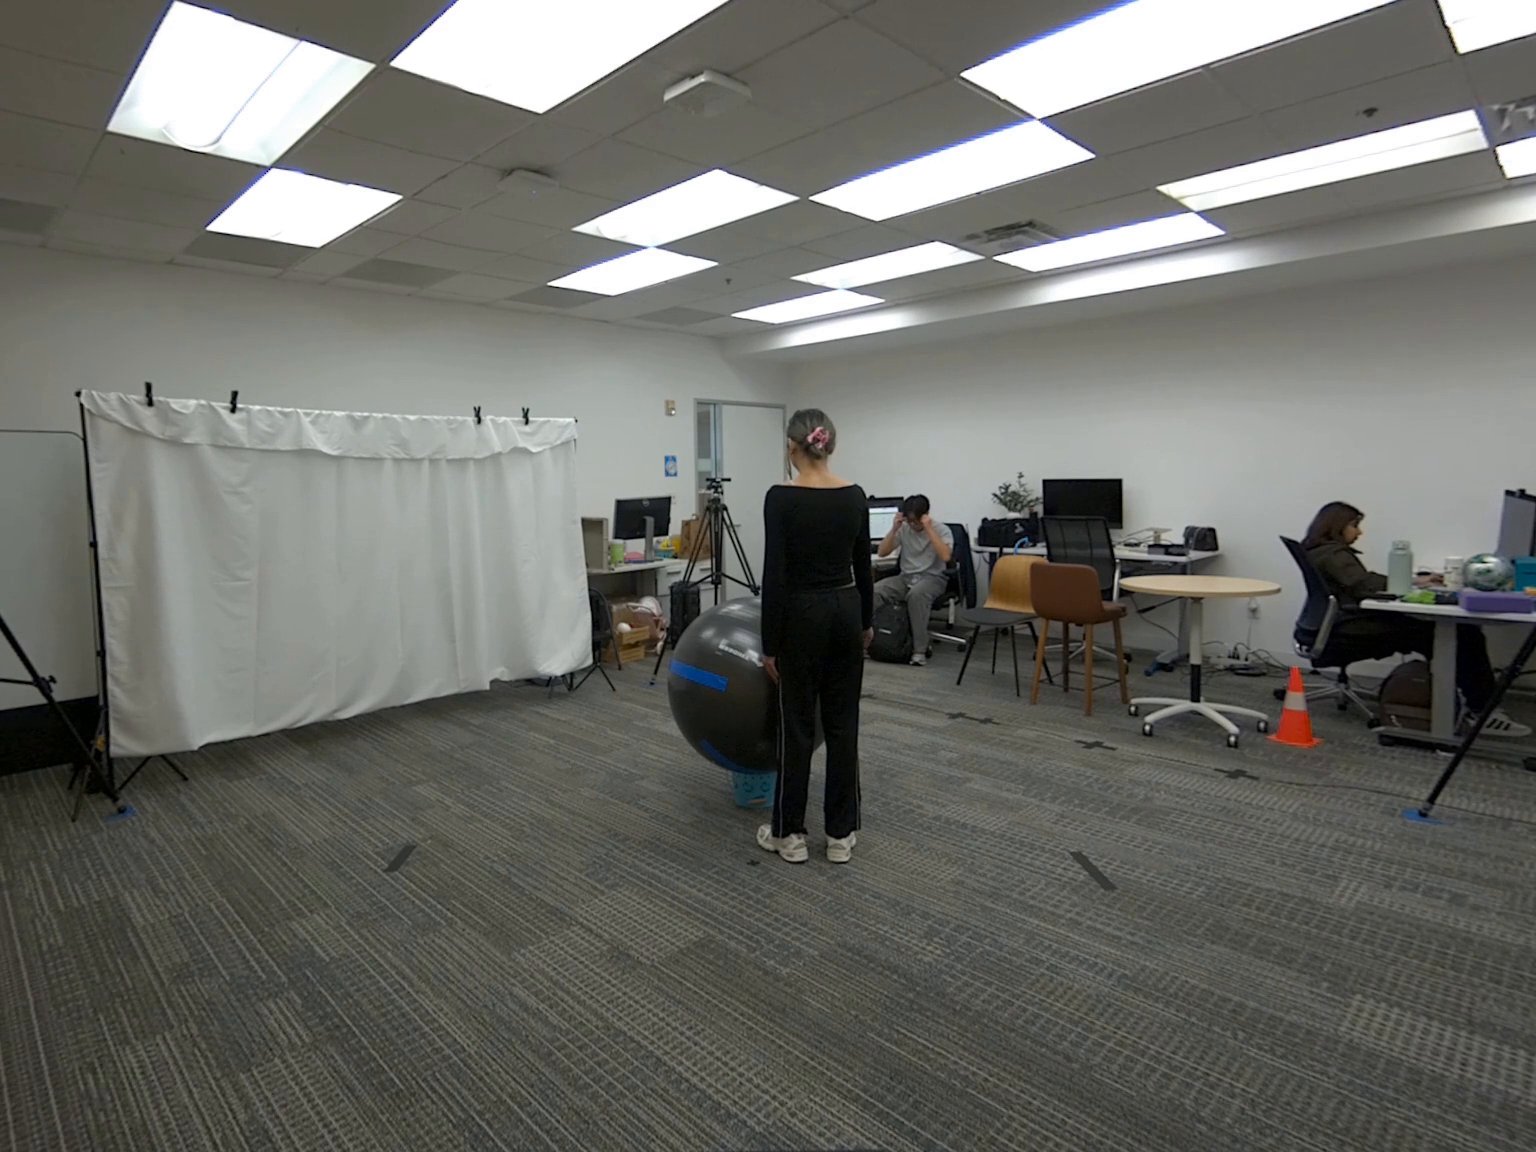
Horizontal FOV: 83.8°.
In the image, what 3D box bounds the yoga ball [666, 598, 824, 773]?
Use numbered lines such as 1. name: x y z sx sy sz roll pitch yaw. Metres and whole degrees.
1. yoga ball: -0.064 0.469 3.696 0.757 0.755 0.762 -1 5 -2
